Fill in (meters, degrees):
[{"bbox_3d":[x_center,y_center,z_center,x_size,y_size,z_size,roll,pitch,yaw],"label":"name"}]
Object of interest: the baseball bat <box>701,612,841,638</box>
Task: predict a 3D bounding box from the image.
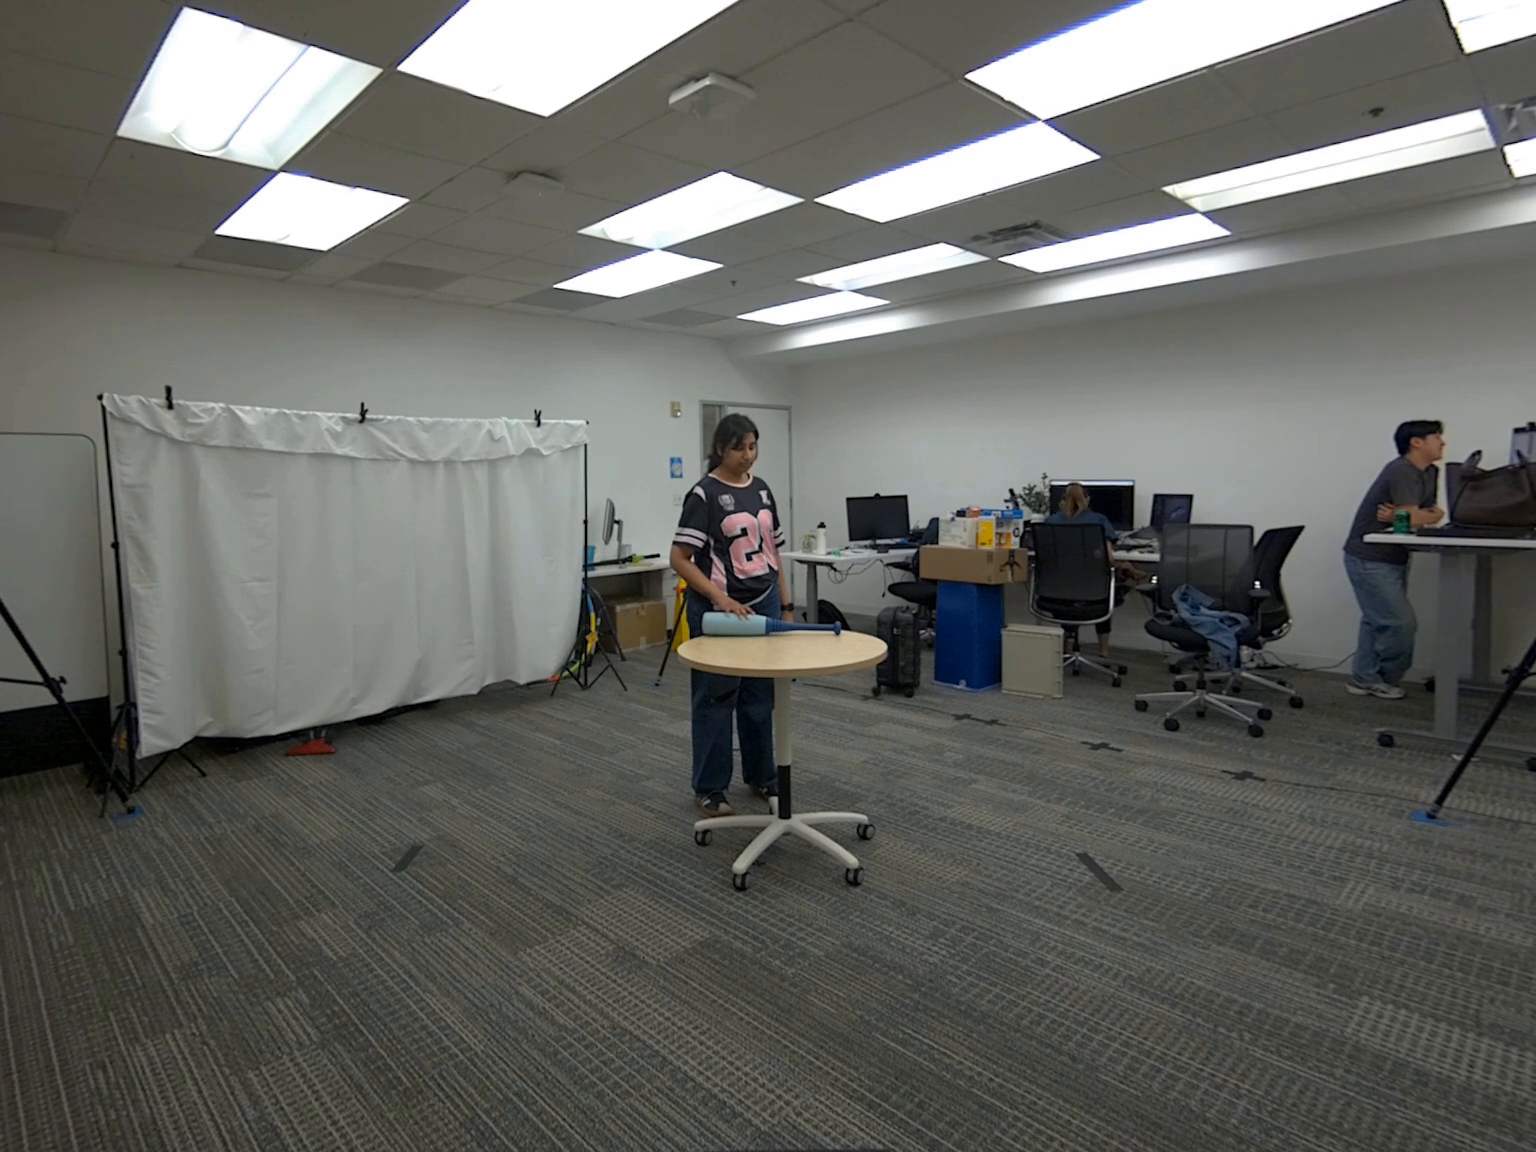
[{"bbox_3d":[0.004,0.200,3.359,0.545,0.089,0.089,2,5,3],"label":"baseball bat"}]
